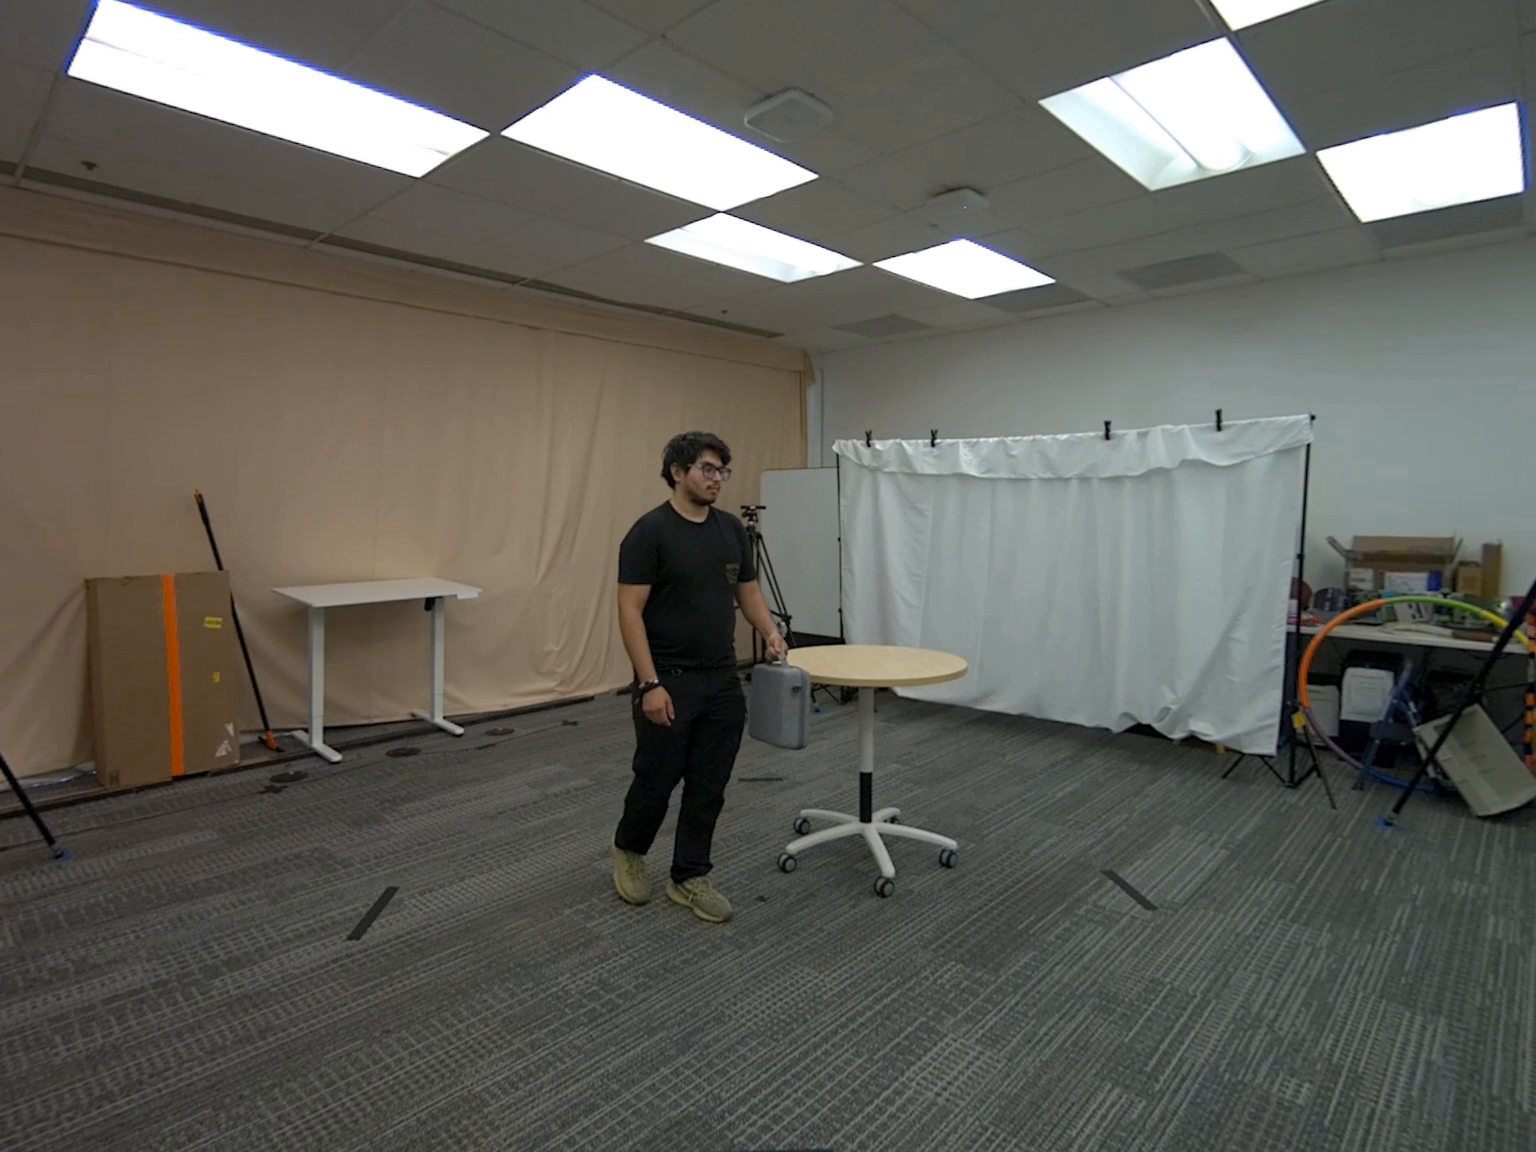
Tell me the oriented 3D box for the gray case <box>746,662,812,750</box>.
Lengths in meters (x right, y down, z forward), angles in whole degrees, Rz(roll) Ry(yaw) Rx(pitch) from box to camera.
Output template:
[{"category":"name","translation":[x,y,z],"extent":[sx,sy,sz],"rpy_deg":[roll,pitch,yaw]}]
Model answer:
[{"category":"gray case","translation":[0.038,0.411,2.713],"extent":[0.102,0.261,0.263],"rpy_deg":[6,-5,-25]}]
